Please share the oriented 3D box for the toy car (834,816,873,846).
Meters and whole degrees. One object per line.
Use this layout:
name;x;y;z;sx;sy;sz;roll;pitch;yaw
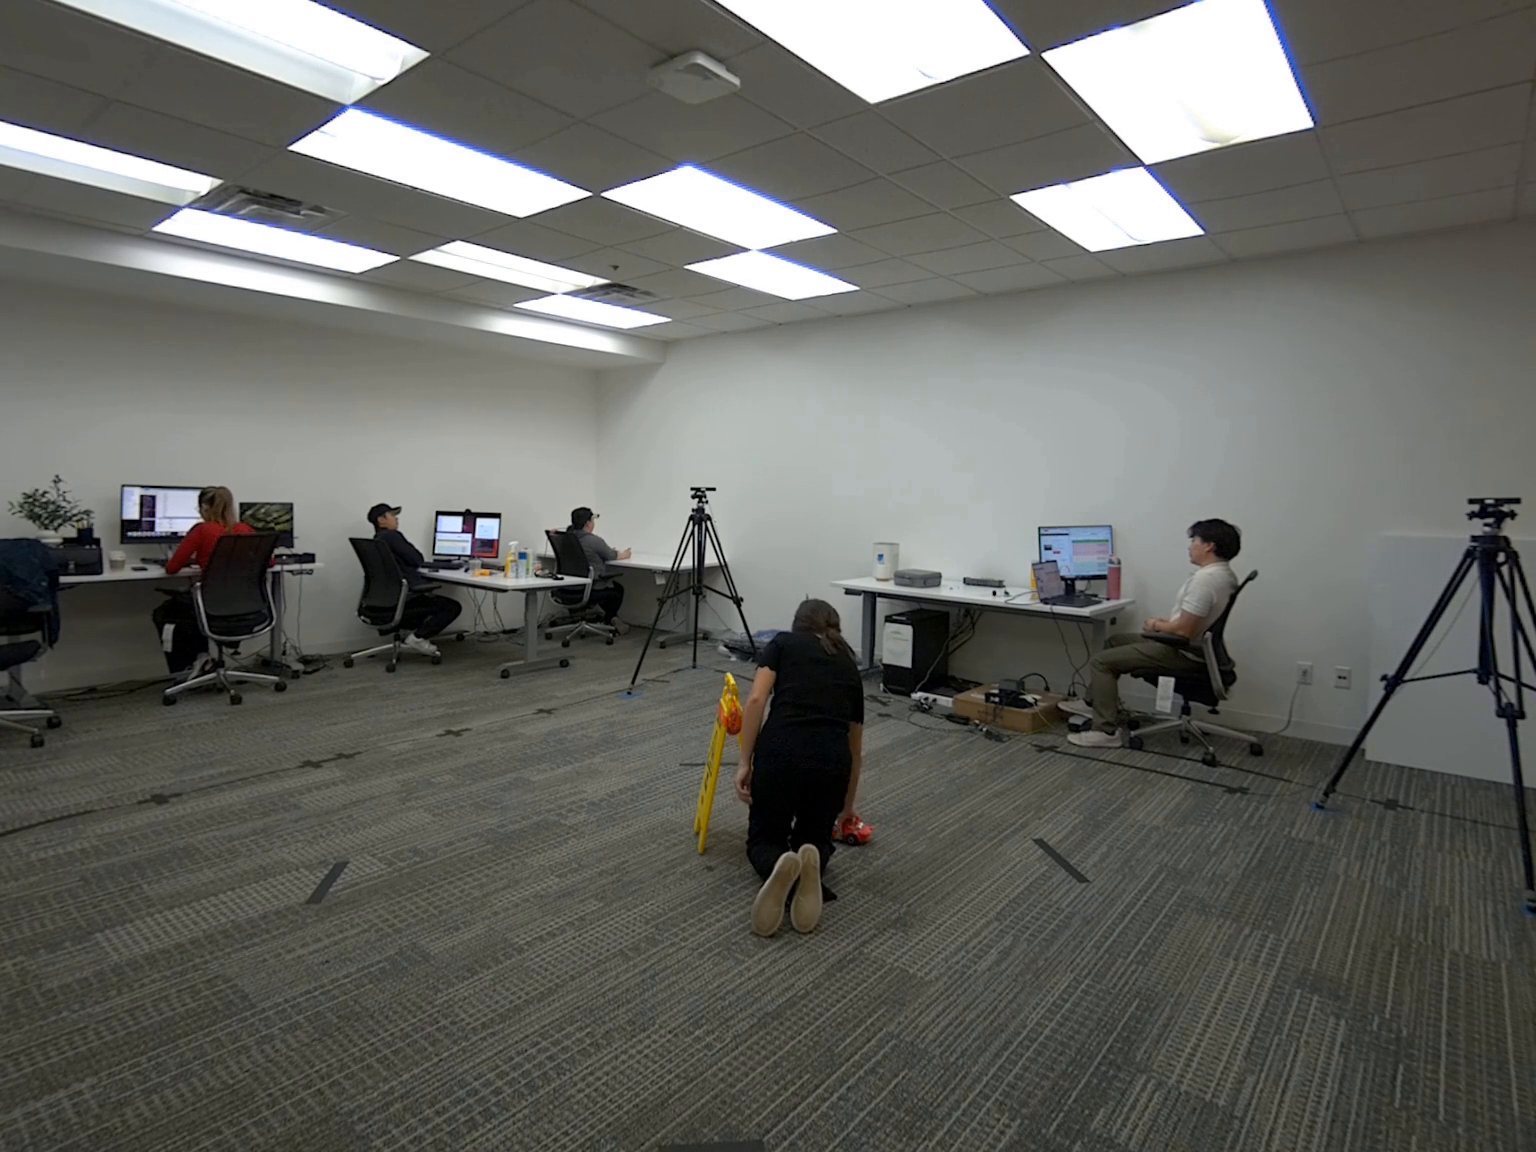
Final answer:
toy car;0.286;1.020;3.402;0.259;0.083;0.128;-8;2;19
